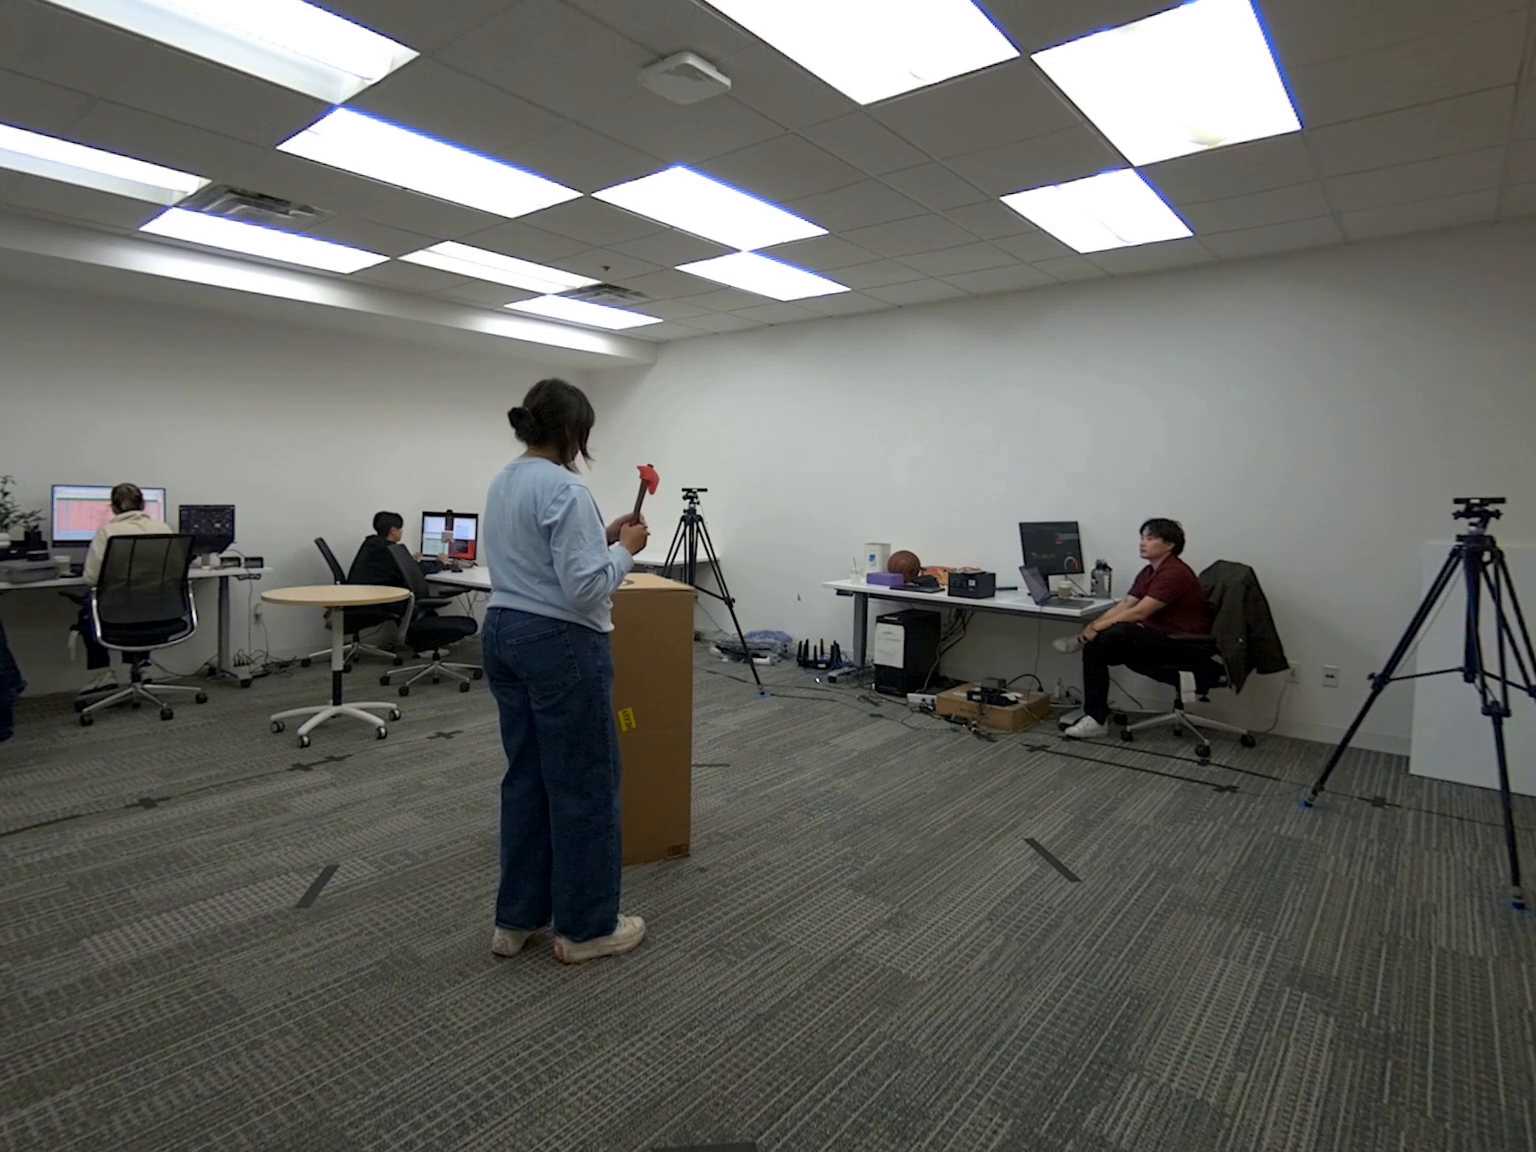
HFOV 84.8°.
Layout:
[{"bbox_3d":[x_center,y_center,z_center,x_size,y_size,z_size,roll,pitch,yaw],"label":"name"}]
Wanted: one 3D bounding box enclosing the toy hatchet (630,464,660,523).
[{"bbox_3d":[-0.400,-0.208,2.618,0.030,0.269,0.128,11,4,23],"label":"toy hatchet"}]
